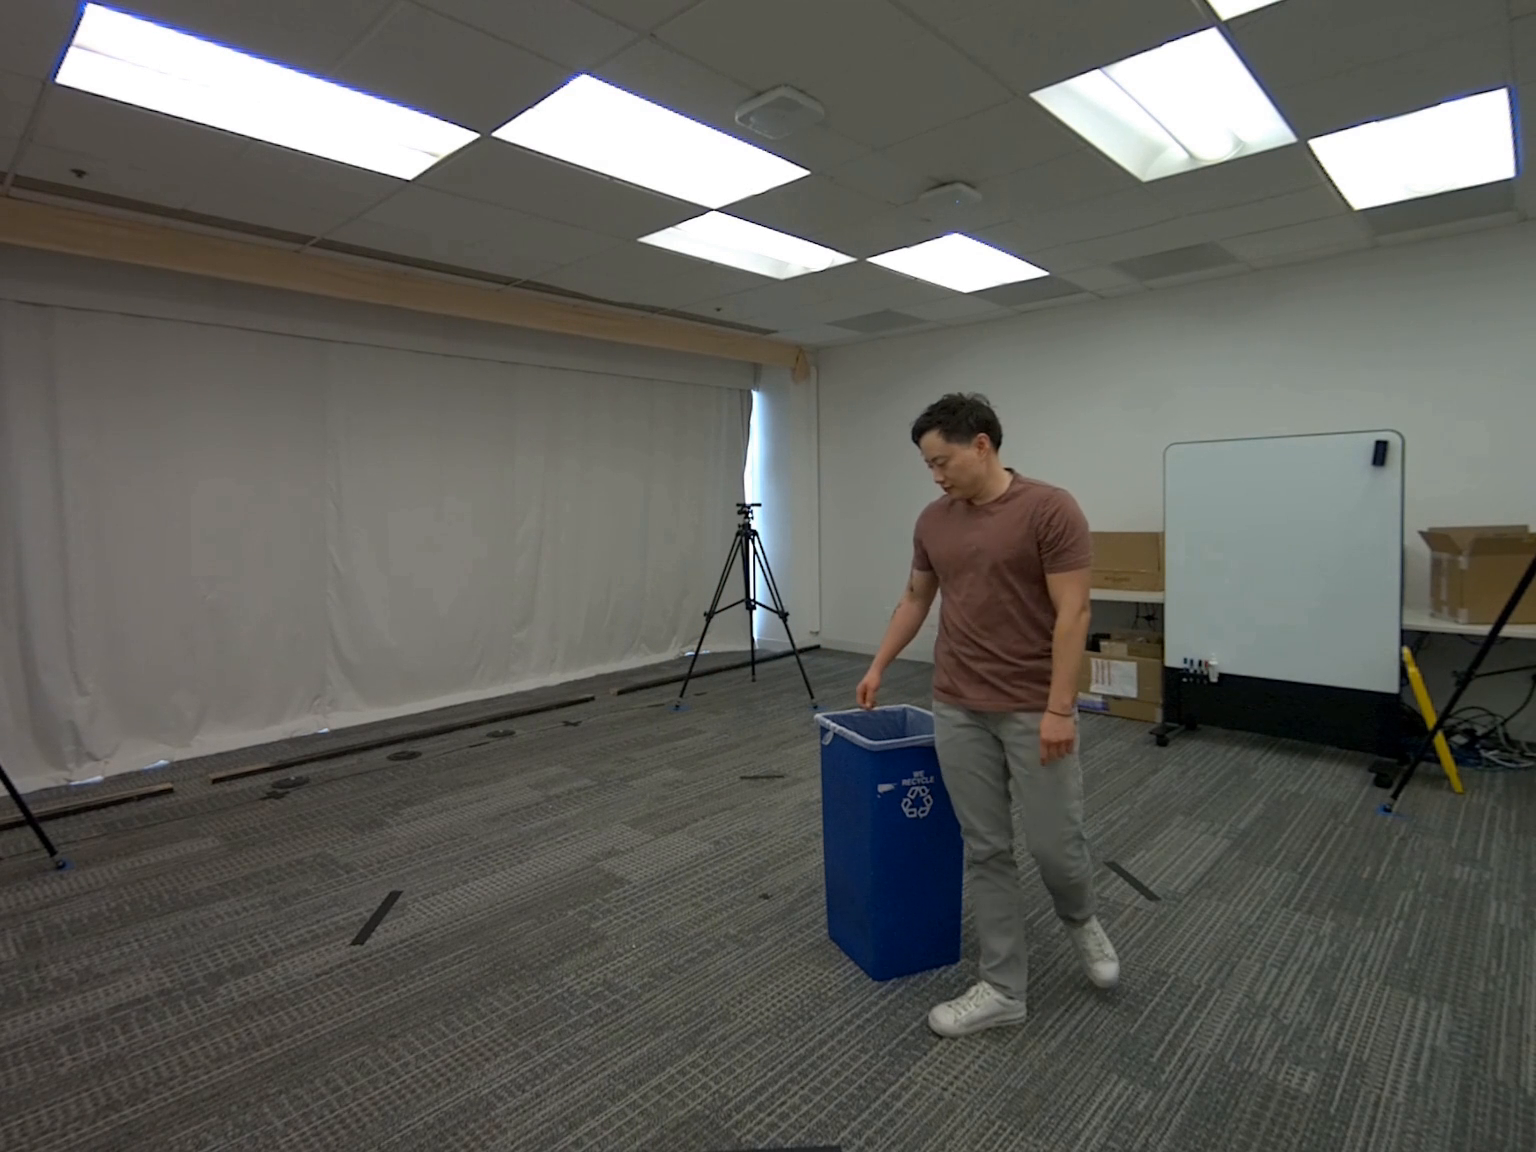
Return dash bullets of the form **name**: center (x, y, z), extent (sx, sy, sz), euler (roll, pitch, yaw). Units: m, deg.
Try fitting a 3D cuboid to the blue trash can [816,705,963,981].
- **blue trash can**: center (0.391, 0.802, 2.611), extent (0.366, 0.712, 0.387), euler (-2, 4, -23)
